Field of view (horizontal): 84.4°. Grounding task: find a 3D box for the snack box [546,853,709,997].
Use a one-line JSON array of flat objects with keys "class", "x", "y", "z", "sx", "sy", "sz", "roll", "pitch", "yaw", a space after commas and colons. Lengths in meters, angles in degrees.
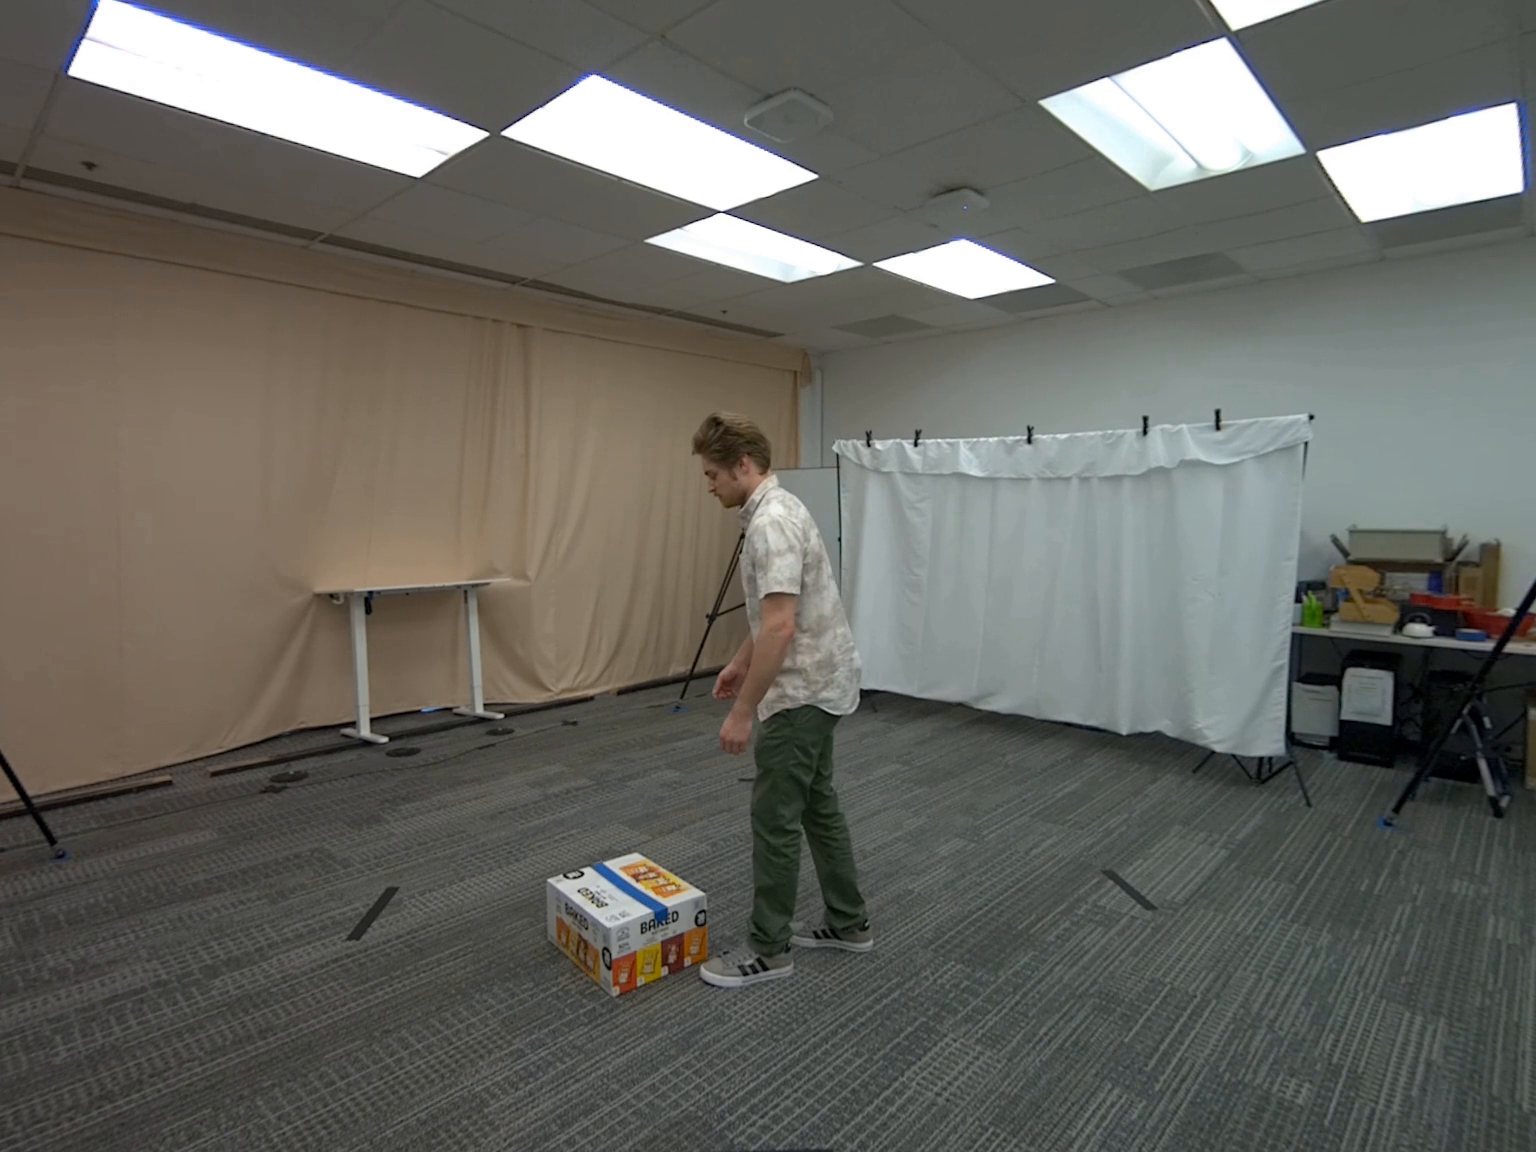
[{"class": "snack box", "x": -0.447, "y": 1.076, "z": 2.635, "sx": 0.330, "sy": 0.205, "sz": 0.418, "roll": -3, "pitch": 5, "yaw": -39}]
